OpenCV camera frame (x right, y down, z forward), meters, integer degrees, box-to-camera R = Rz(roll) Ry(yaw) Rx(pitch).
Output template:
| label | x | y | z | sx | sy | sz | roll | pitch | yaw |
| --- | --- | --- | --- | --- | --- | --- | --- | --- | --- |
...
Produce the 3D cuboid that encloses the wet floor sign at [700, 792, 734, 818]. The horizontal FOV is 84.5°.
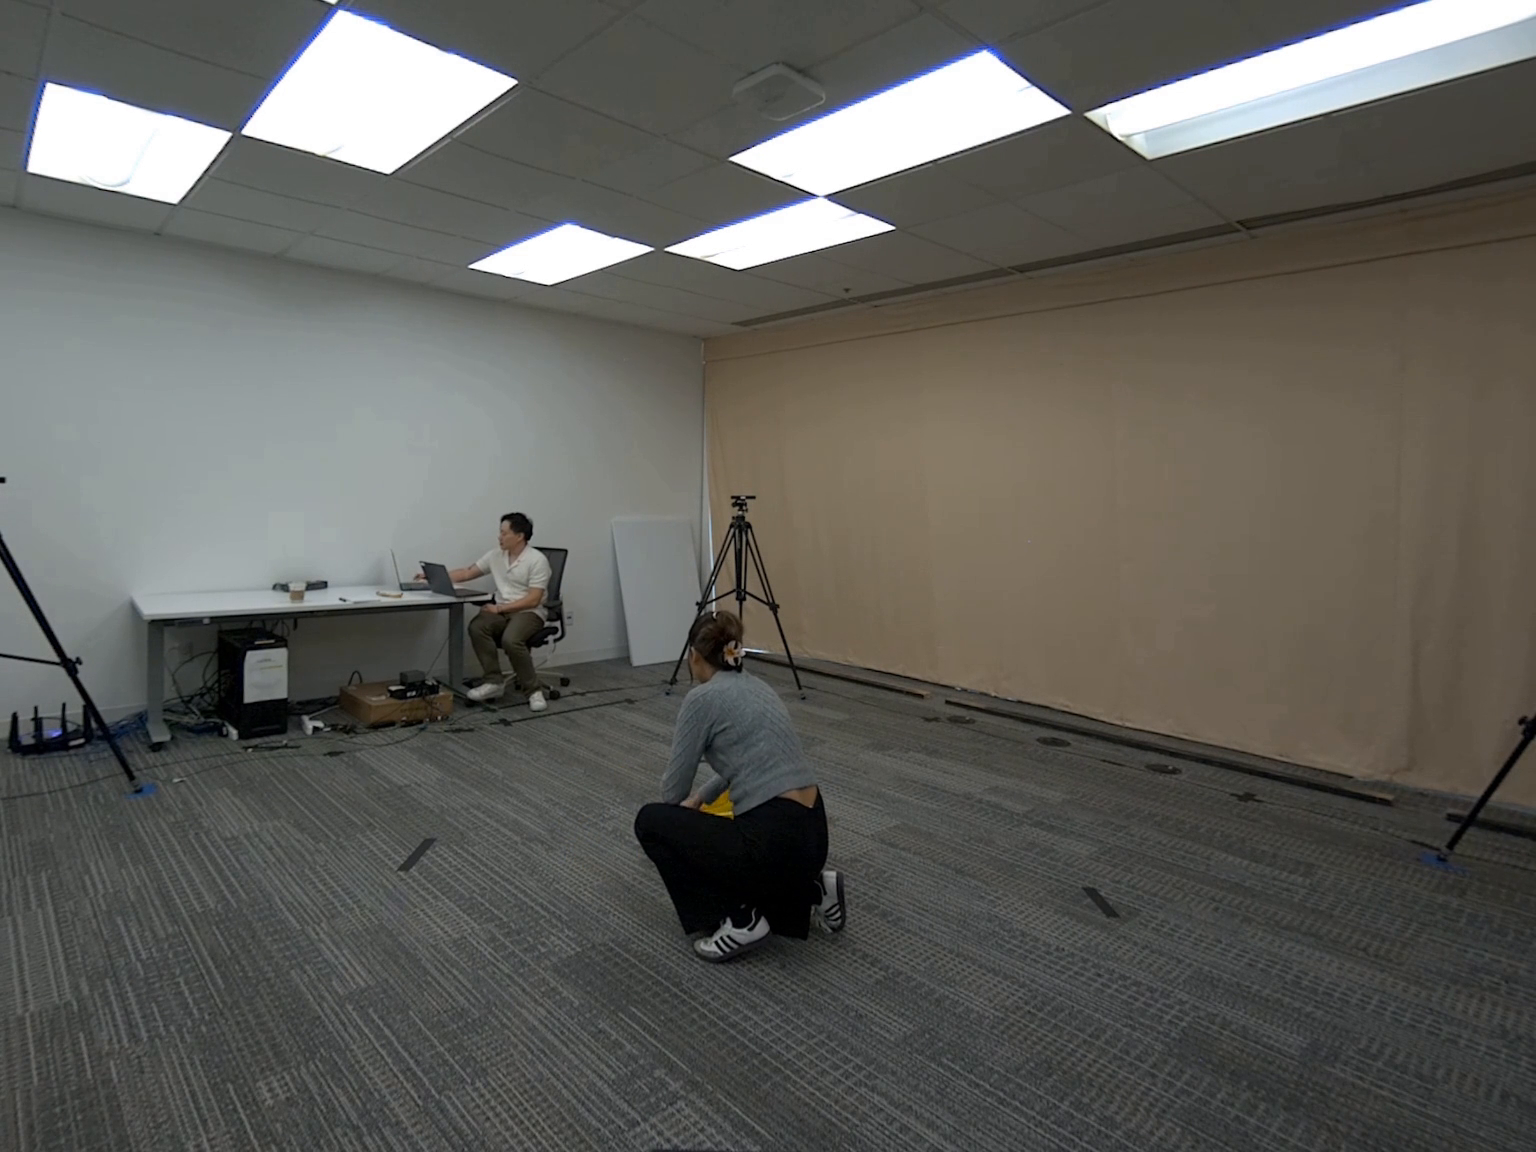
| label | x | y | z | sx | sy | sz | roll | pitch | yaw |
| --- | --- | --- | --- | --- | --- | --- | --- | --- | --- |
| wet floor sign | -0.158 | 0.944 | 3.327 | 0.637 | 0.277 | 0.299 | -11 | 46 | -22 |
